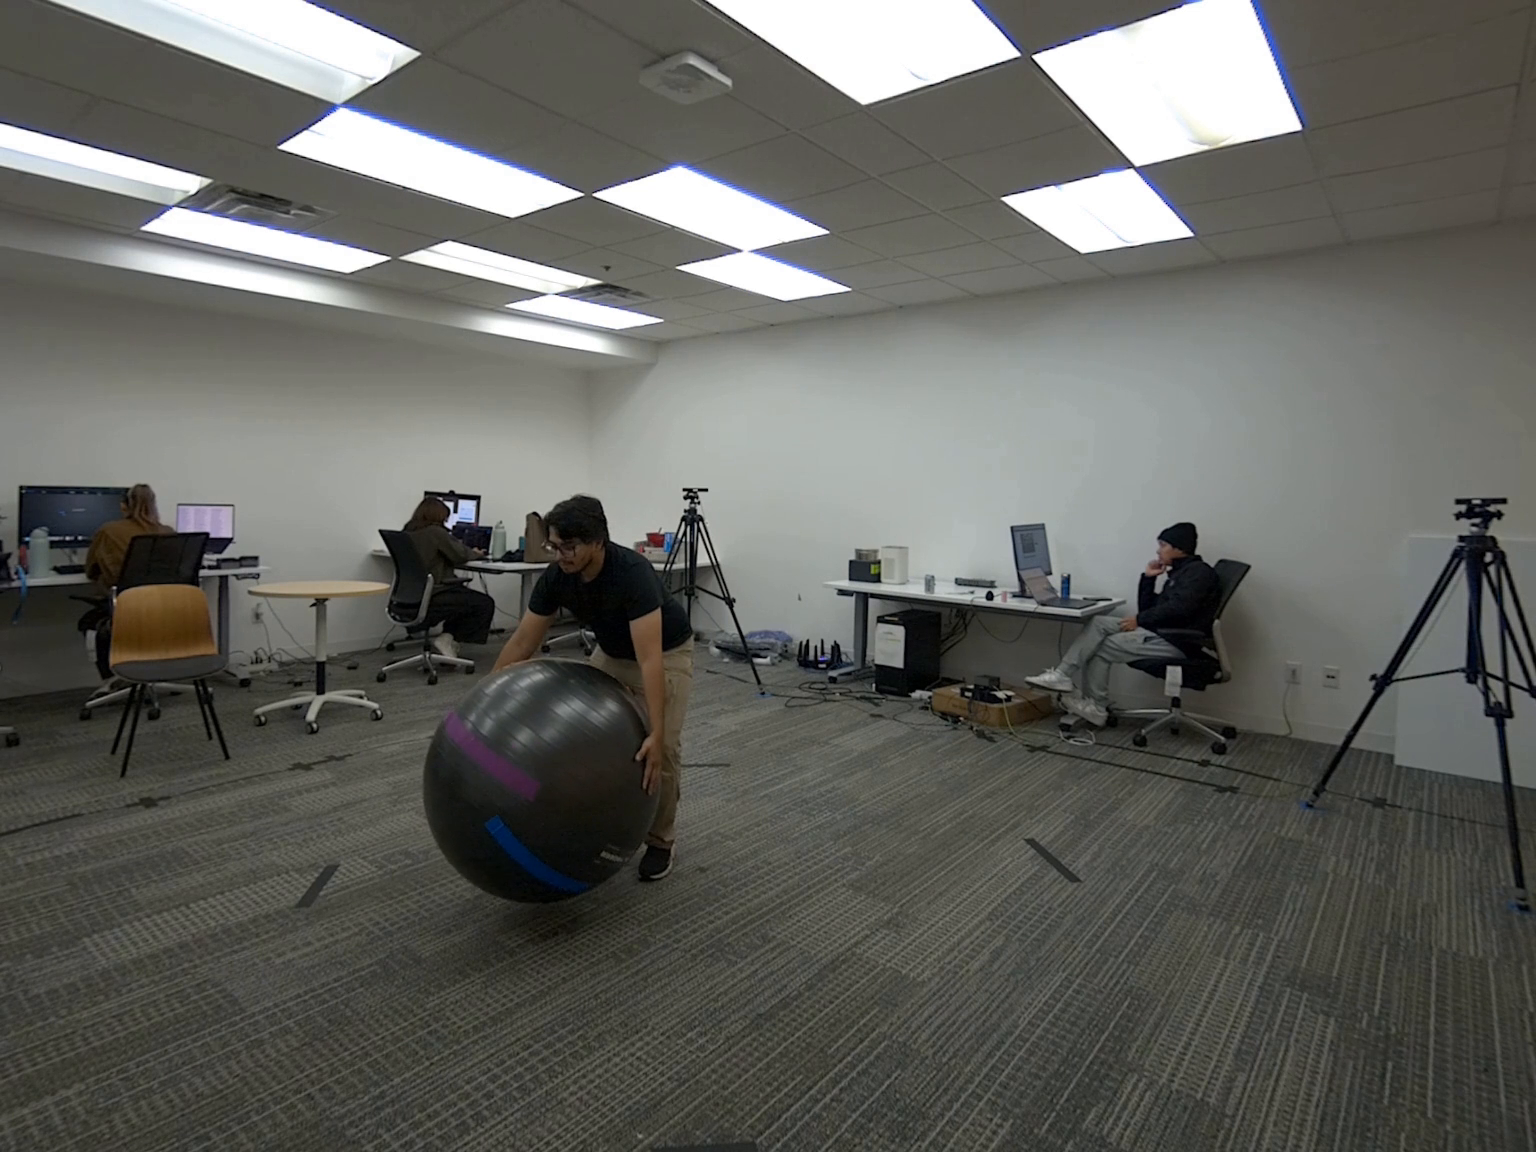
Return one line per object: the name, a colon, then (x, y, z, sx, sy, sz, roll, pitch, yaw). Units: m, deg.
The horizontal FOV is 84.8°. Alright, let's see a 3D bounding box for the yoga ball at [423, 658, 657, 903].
yoga ball: (-0.739, 0.650, 2.759, 0.757, 0.755, 0.762, 1, 4, -2)
